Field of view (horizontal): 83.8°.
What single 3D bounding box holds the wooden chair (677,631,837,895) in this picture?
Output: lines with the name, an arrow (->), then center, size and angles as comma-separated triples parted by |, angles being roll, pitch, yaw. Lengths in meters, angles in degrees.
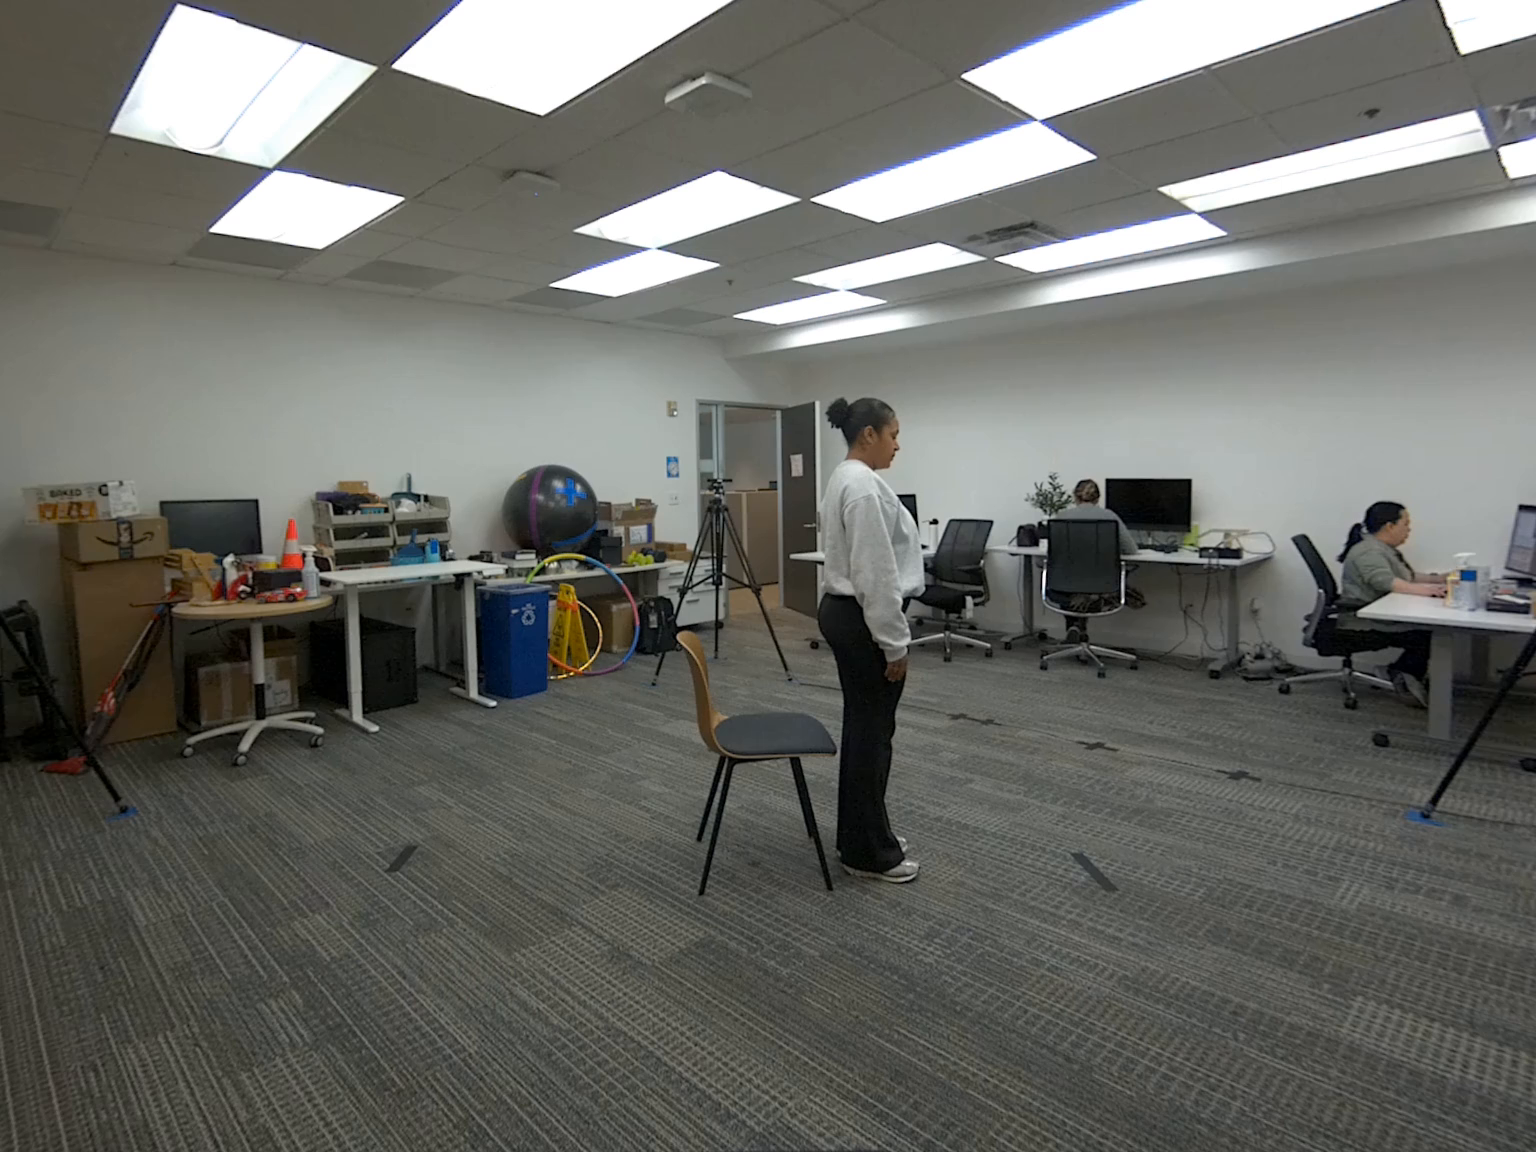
wooden chair -> -0.029, 0.618, 3.072 | 0.521, 0.874, 0.482 | -5, 4, -4
